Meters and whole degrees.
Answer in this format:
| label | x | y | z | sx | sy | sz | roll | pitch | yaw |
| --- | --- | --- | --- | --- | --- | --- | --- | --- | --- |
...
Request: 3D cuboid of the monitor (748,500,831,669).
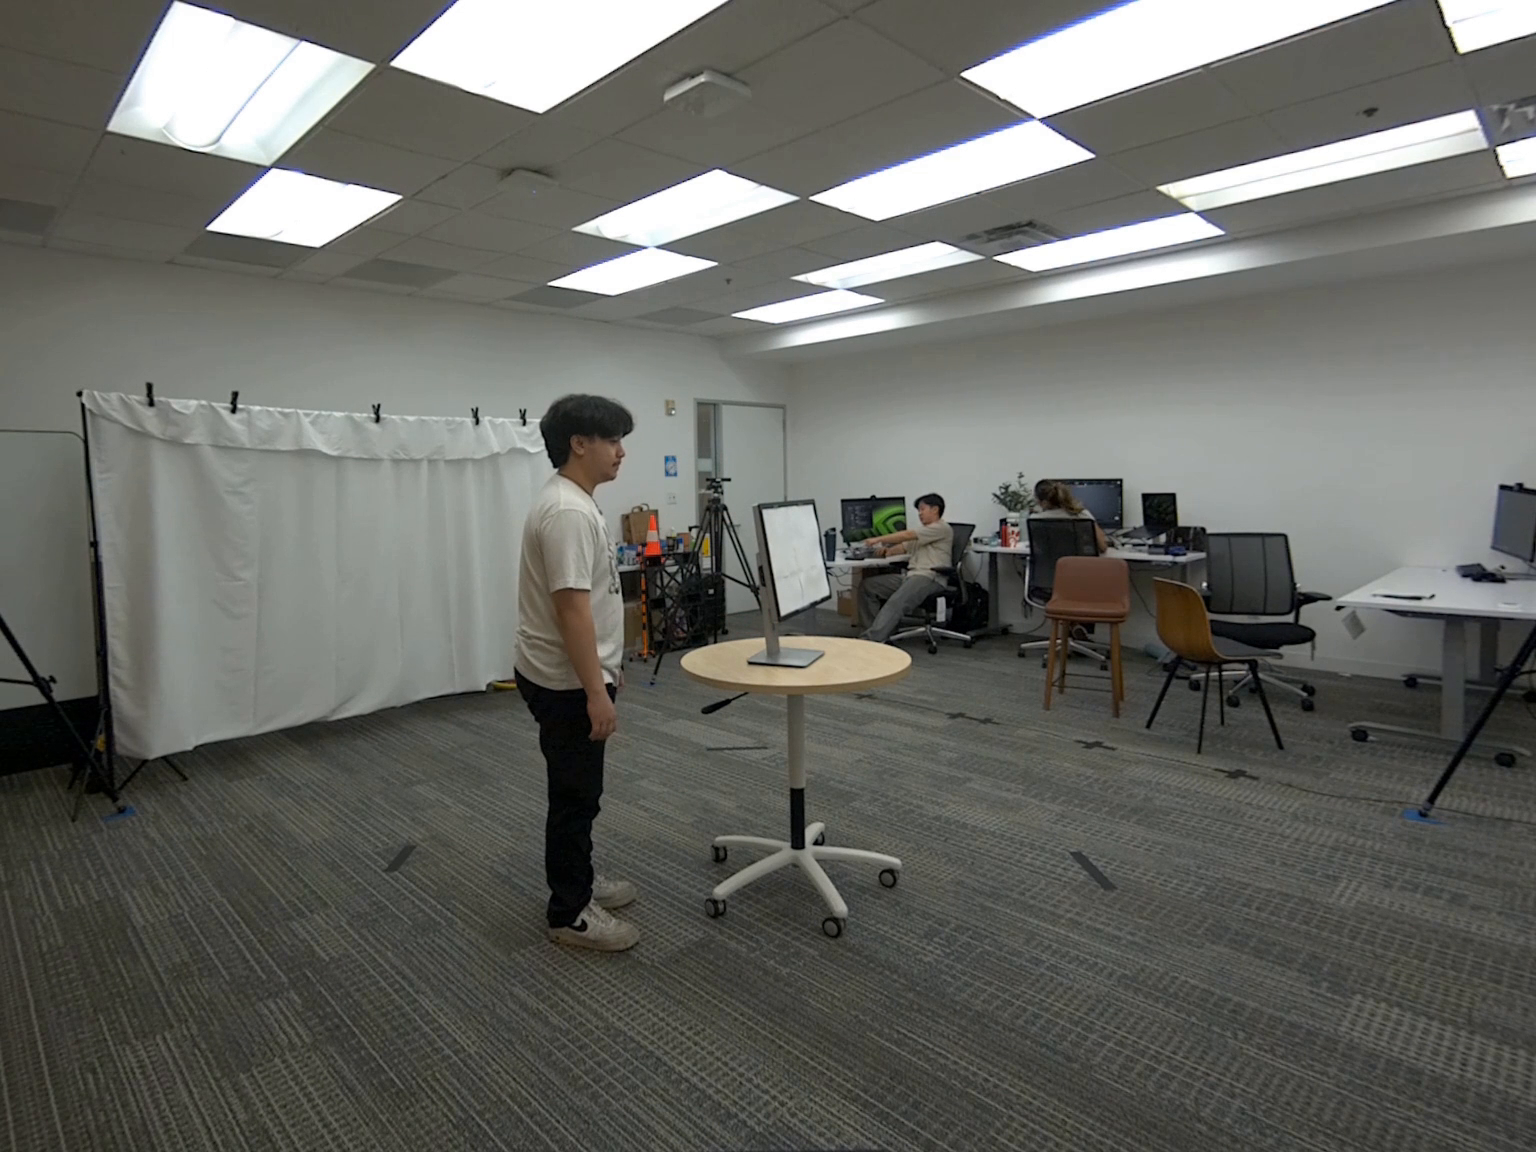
| label | x | y | z | sx | sy | sz | roll | pitch | yaw |
| --- | --- | --- | --- | --- | --- | --- | --- | --- | --- |
| monitor | 0.032 | 0.022 | 2.849 | 0.214 | 0.553 | 0.556 | -4 | 3 | 22 |
